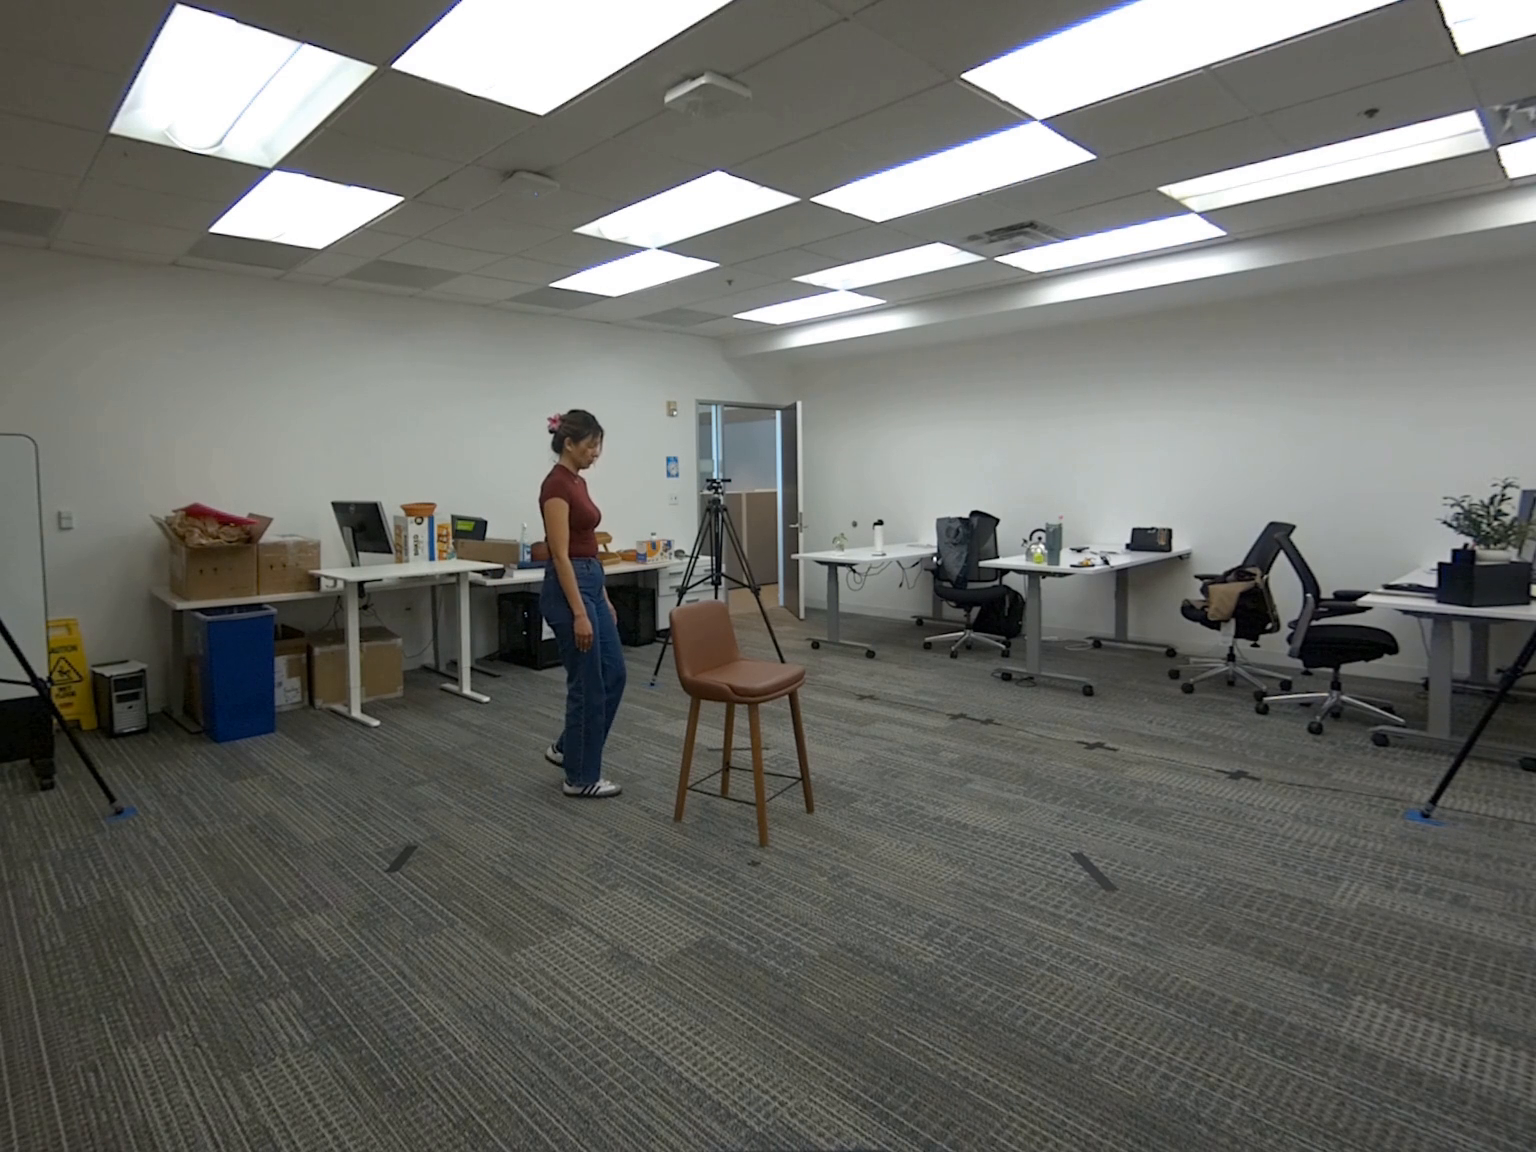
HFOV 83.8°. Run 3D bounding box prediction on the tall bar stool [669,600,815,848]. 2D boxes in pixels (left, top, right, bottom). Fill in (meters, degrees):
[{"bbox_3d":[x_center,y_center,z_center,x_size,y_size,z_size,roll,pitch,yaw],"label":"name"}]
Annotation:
[{"bbox_3d":[-0.117,0.561,3.513,0.480,0.888,0.445,-1,3,33],"label":"tall bar stool"}]
